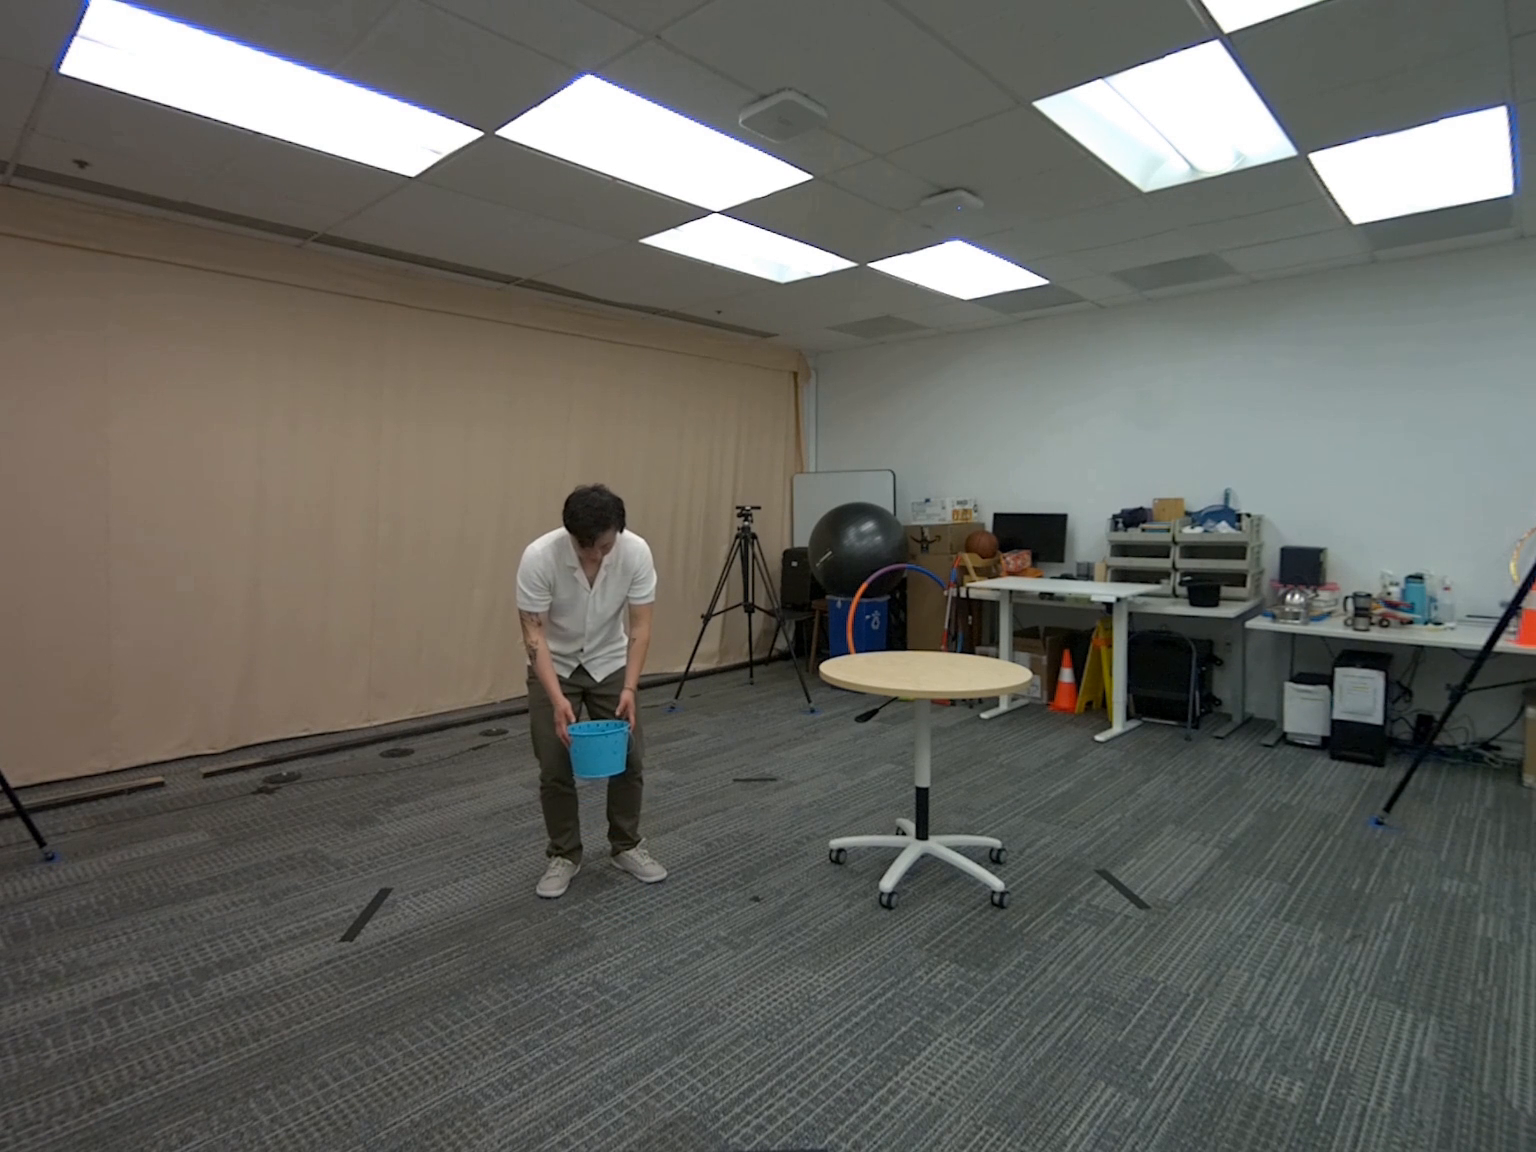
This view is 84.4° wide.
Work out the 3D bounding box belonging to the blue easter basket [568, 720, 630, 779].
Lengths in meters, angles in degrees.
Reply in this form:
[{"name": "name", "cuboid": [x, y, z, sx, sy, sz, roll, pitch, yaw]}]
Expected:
[{"name": "blue easter basket", "cuboid": [-0.585, 0.600, 2.933, 0.243, 0.156, 0.244, -3, 0, -2]}]
